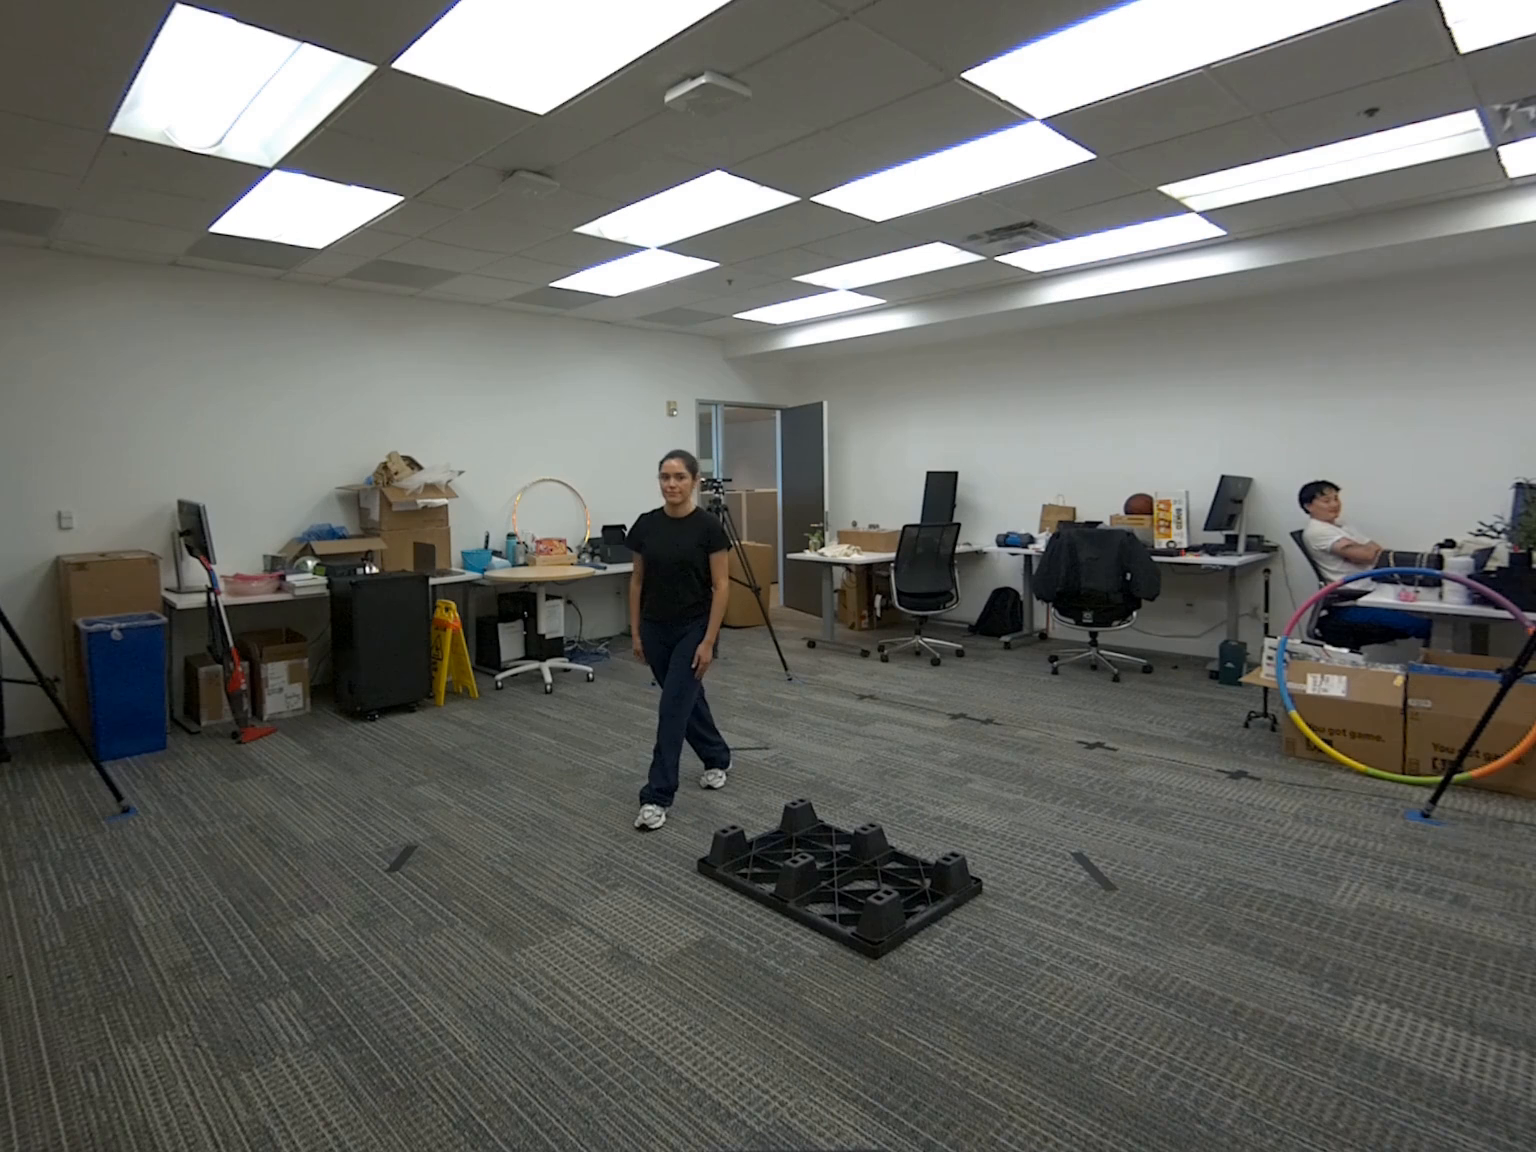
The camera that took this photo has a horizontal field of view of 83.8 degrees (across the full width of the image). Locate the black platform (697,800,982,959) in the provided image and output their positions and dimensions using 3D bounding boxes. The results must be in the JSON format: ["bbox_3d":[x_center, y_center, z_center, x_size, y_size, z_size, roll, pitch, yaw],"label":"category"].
[{"bbox_3d":[0.236,0.988,2.968,0.589,0.142,0.831,-8,9,-44],"label":"black platform"}]
